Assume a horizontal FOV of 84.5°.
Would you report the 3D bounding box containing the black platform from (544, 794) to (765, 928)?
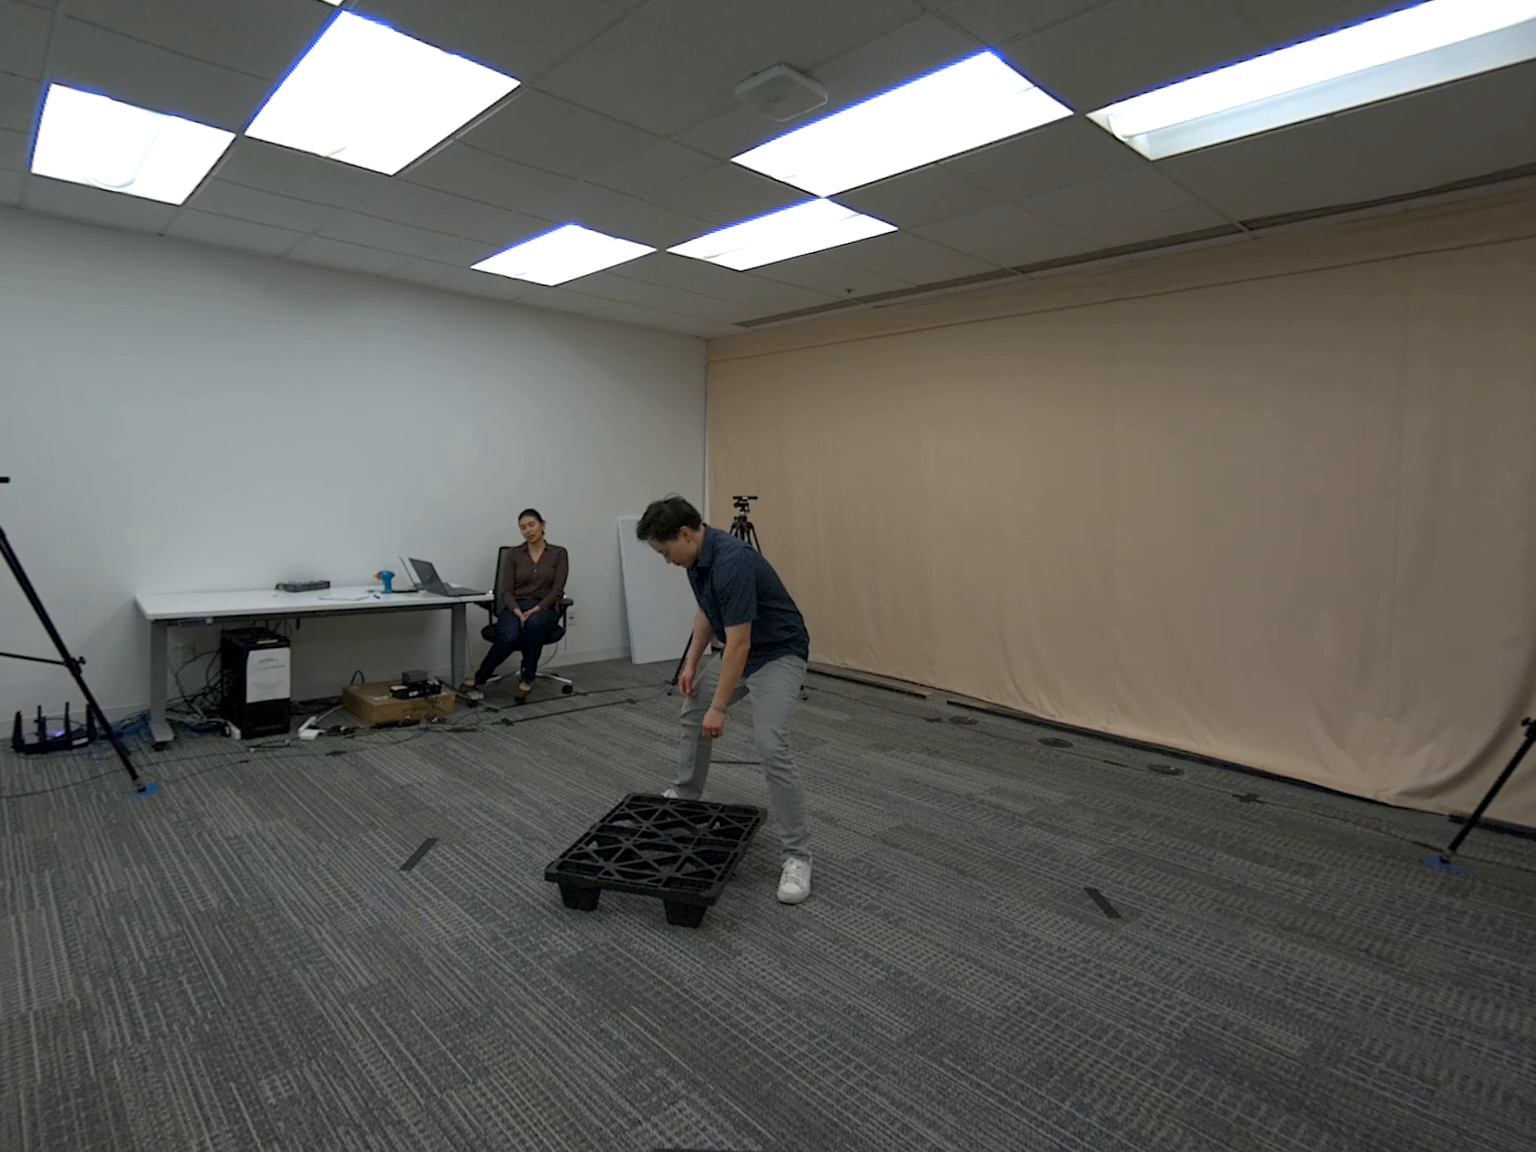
[{"bbox_3d":[-0.377,1.031,3.115,0.612,0.143,0.799,3,6,13],"label":"black platform"}]
